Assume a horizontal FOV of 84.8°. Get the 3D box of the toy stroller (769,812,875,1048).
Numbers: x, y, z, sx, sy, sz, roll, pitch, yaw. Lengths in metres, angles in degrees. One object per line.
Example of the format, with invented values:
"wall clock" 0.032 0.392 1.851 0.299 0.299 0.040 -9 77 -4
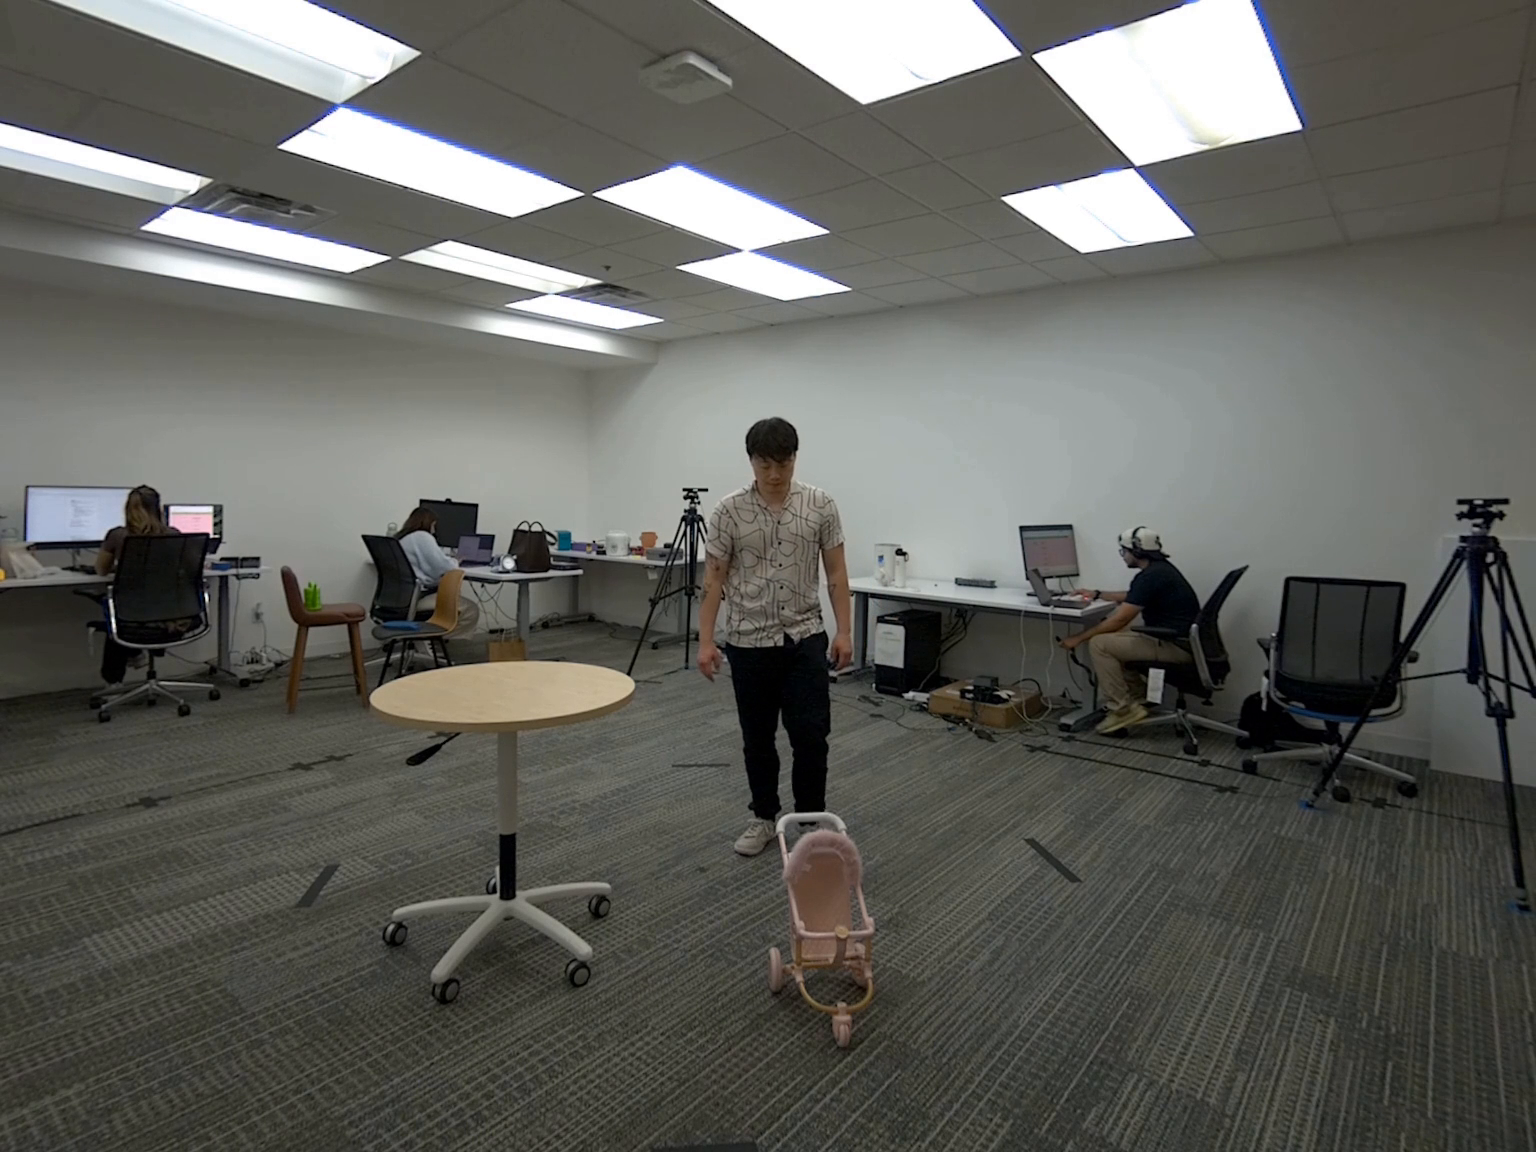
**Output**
"toy stroller" 0.152 0.934 2.312 0.280 0.541 0.339 1 -12 -6
